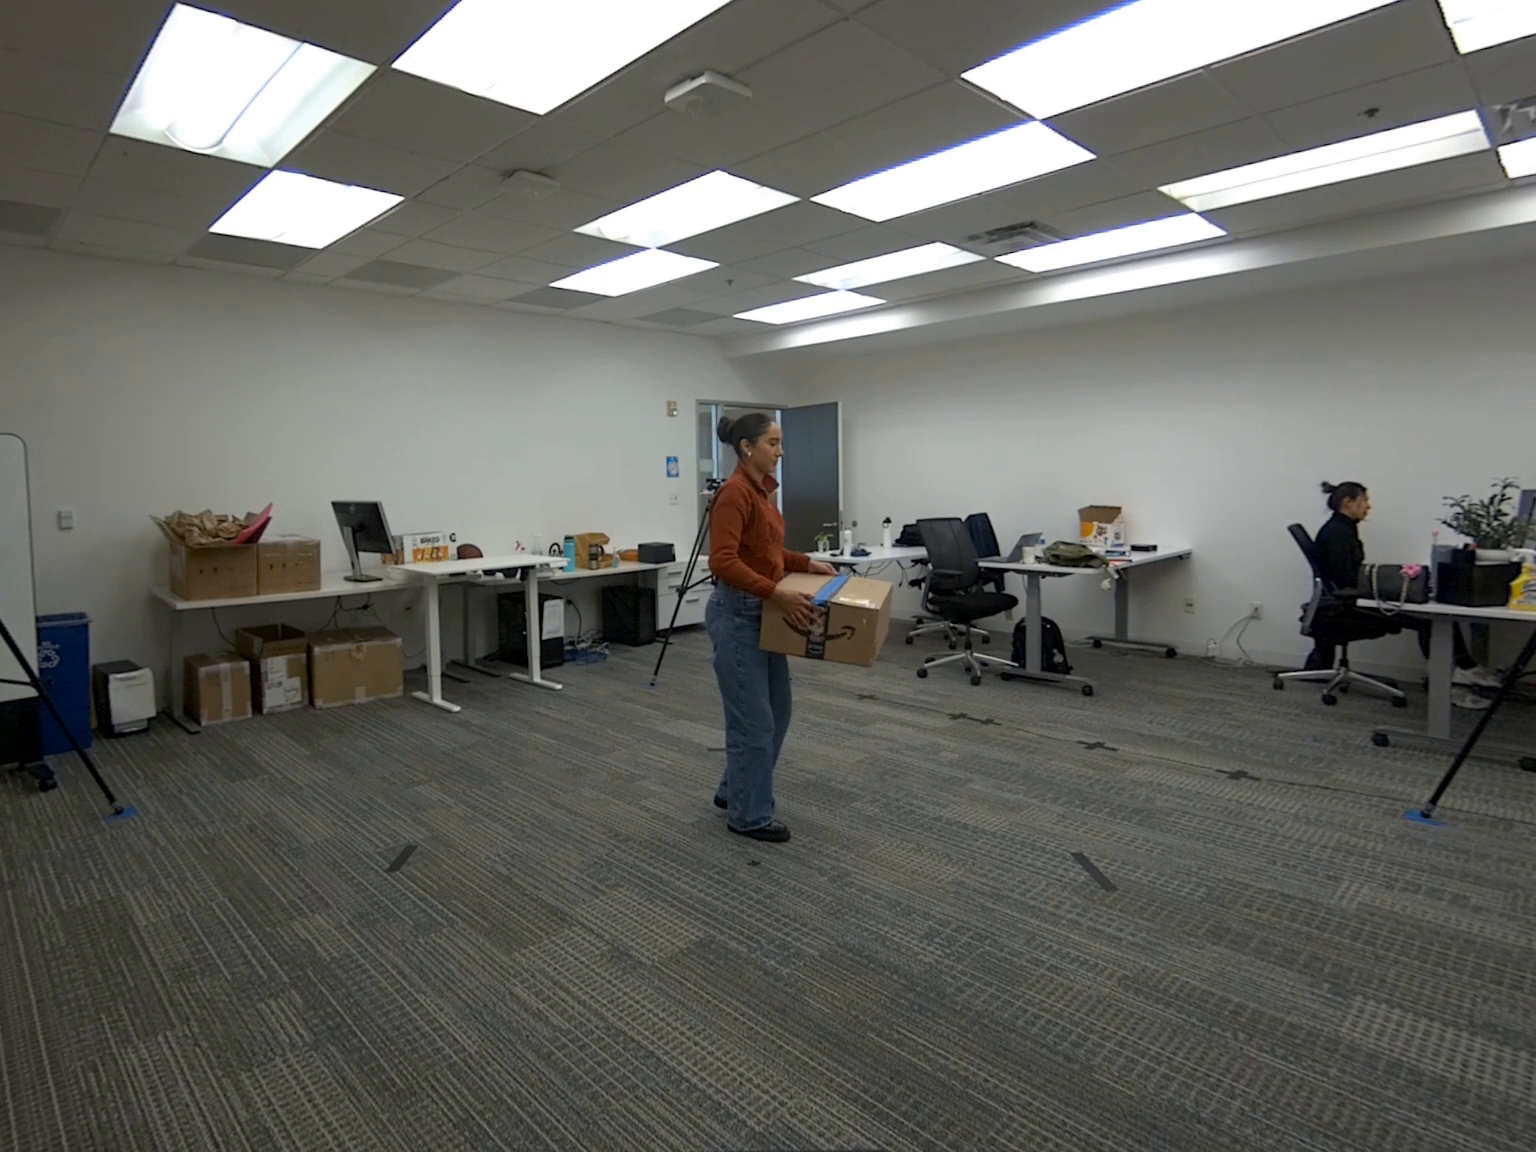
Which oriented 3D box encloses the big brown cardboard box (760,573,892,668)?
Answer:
[{"bbox_3d":[0.238,0.148,3.319,0.424,0.232,0.584,6,9,13],"label":"big brown cardboard box"}]
